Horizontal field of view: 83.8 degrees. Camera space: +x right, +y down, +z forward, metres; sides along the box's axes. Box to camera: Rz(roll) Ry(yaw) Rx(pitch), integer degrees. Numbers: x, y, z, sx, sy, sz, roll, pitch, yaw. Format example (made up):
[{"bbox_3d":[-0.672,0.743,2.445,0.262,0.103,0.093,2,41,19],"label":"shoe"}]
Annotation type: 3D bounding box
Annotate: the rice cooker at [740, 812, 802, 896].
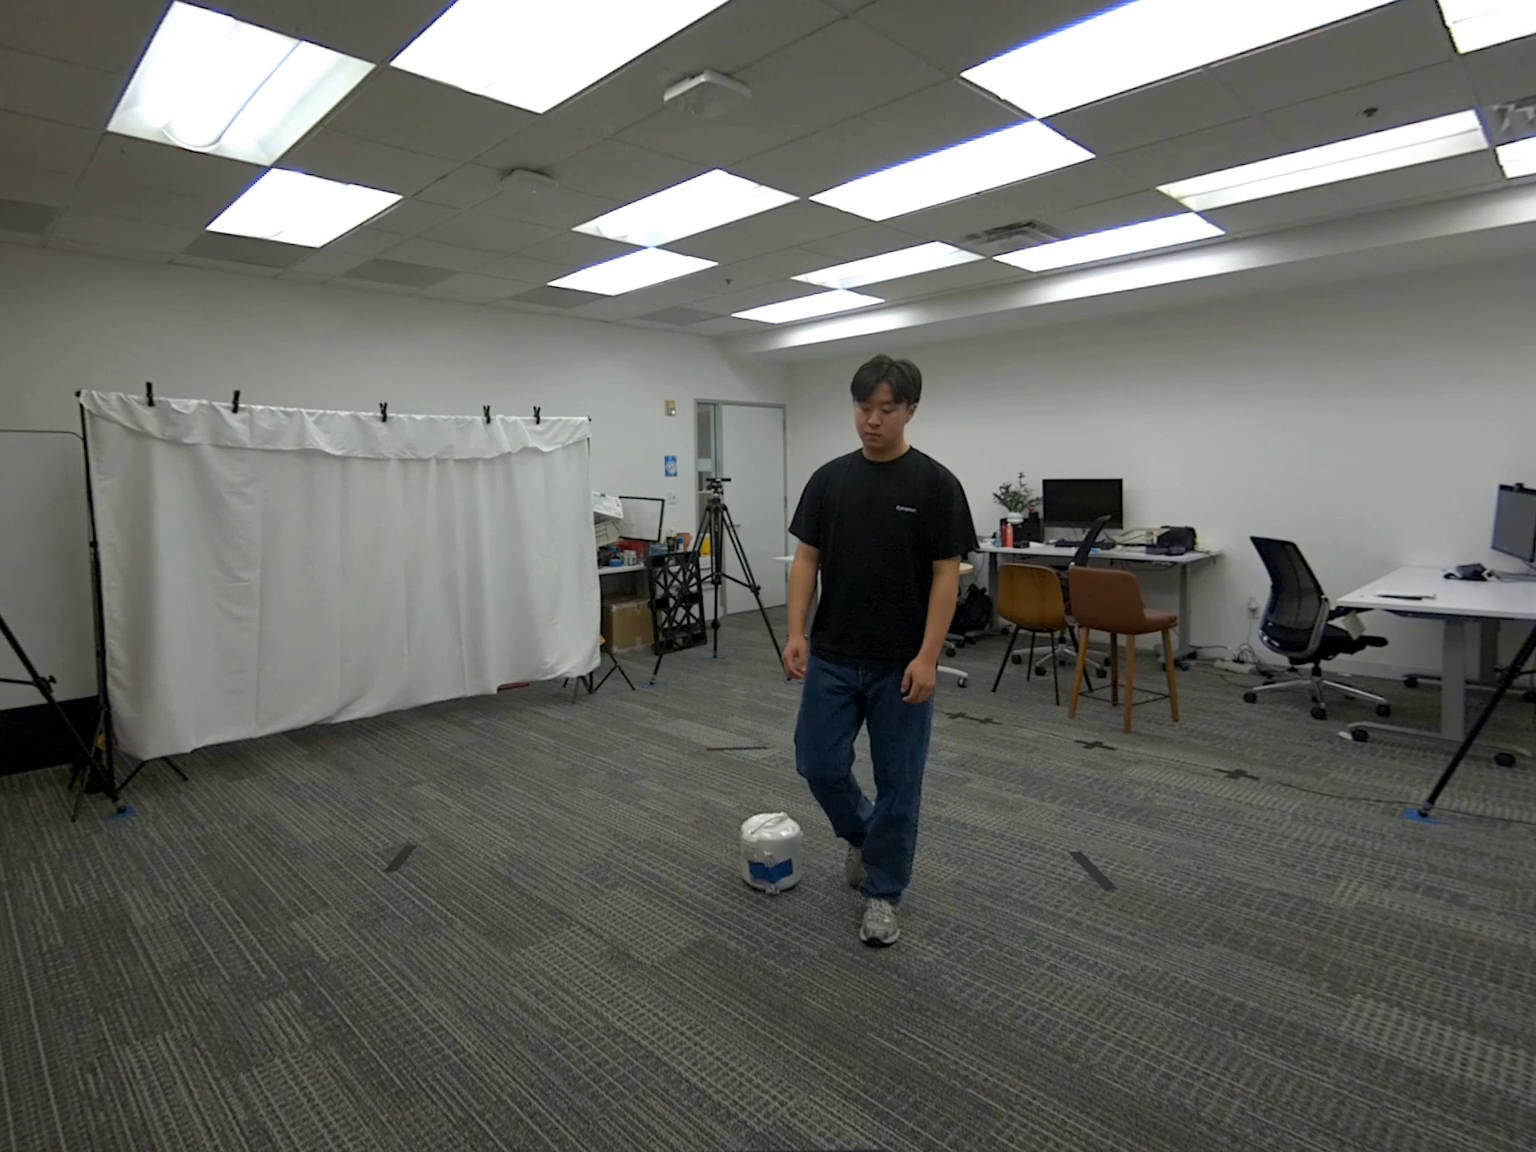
[{"bbox_3d":[0.011,0.941,2.960,0.215,0.232,0.224,-6,8,-43],"label":"rice cooker"}]
